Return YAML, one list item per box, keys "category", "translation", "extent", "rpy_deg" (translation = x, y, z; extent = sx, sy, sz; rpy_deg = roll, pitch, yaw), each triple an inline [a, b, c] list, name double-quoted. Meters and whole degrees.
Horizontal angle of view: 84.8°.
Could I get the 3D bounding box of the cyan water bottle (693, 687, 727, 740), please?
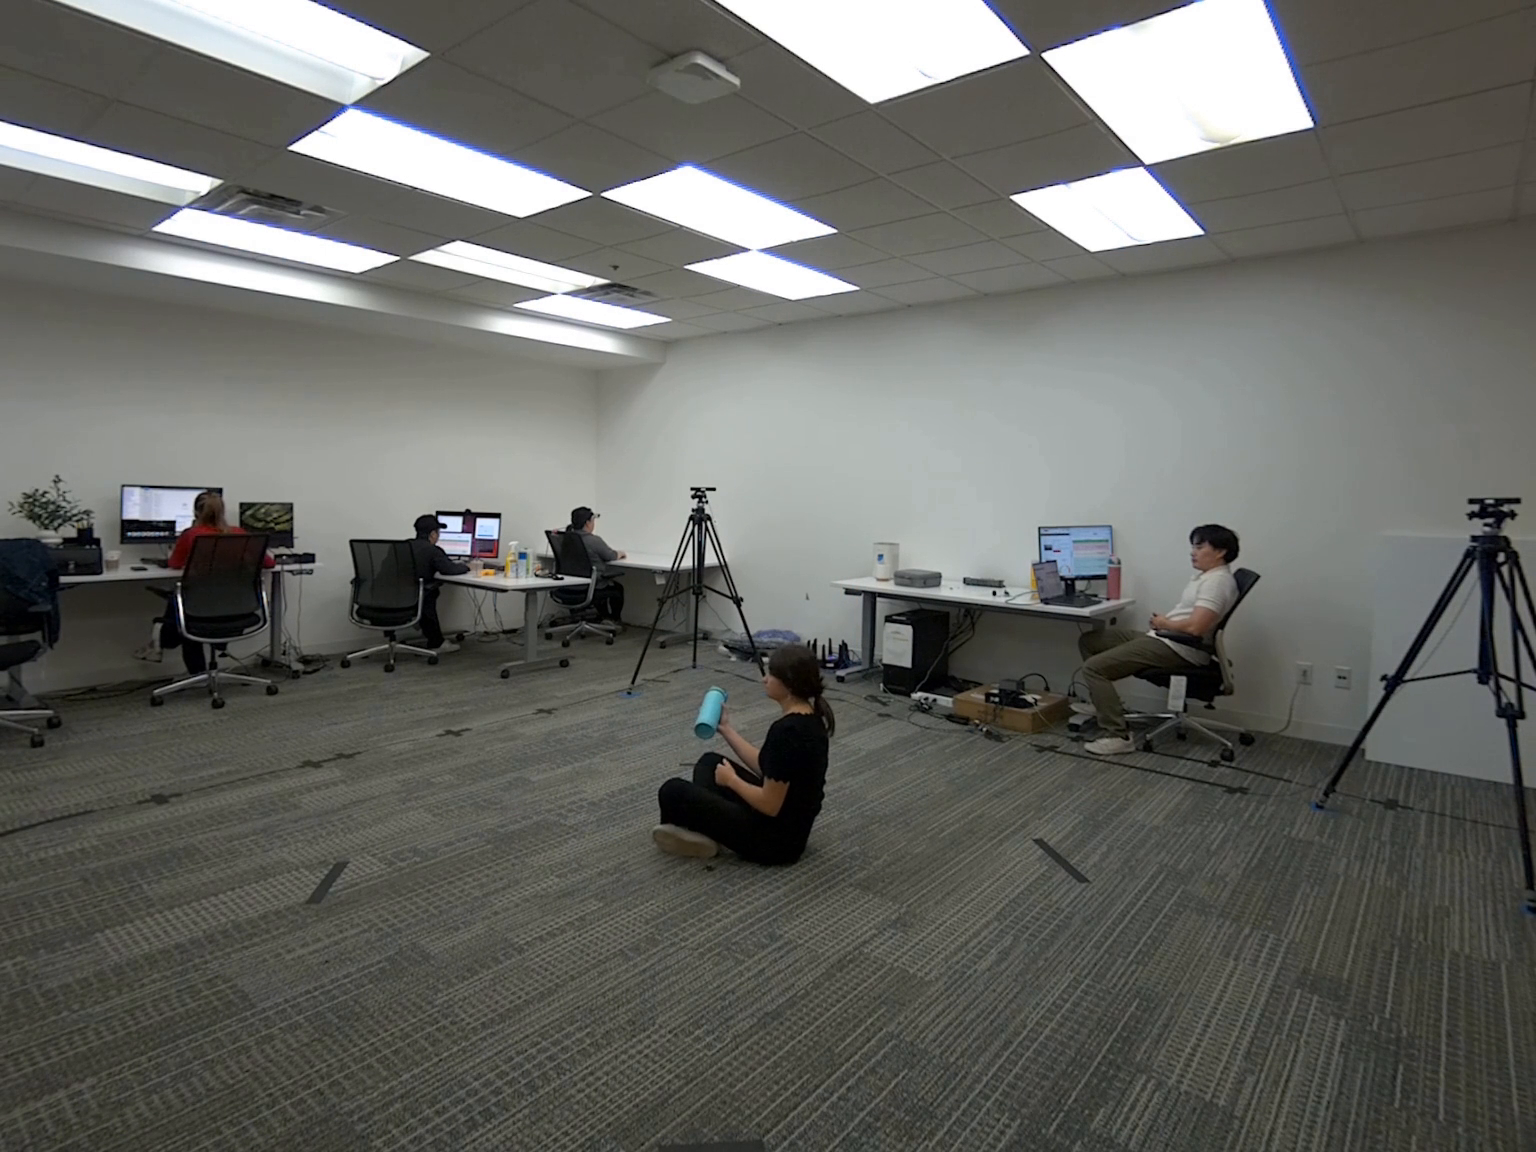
- category: "cyan water bottle"
  translation: [-0.256, 0.566, 3.601]
  extent: [0.093, 0.090, 0.287]
  rpy_deg: [1, 28, 9]
